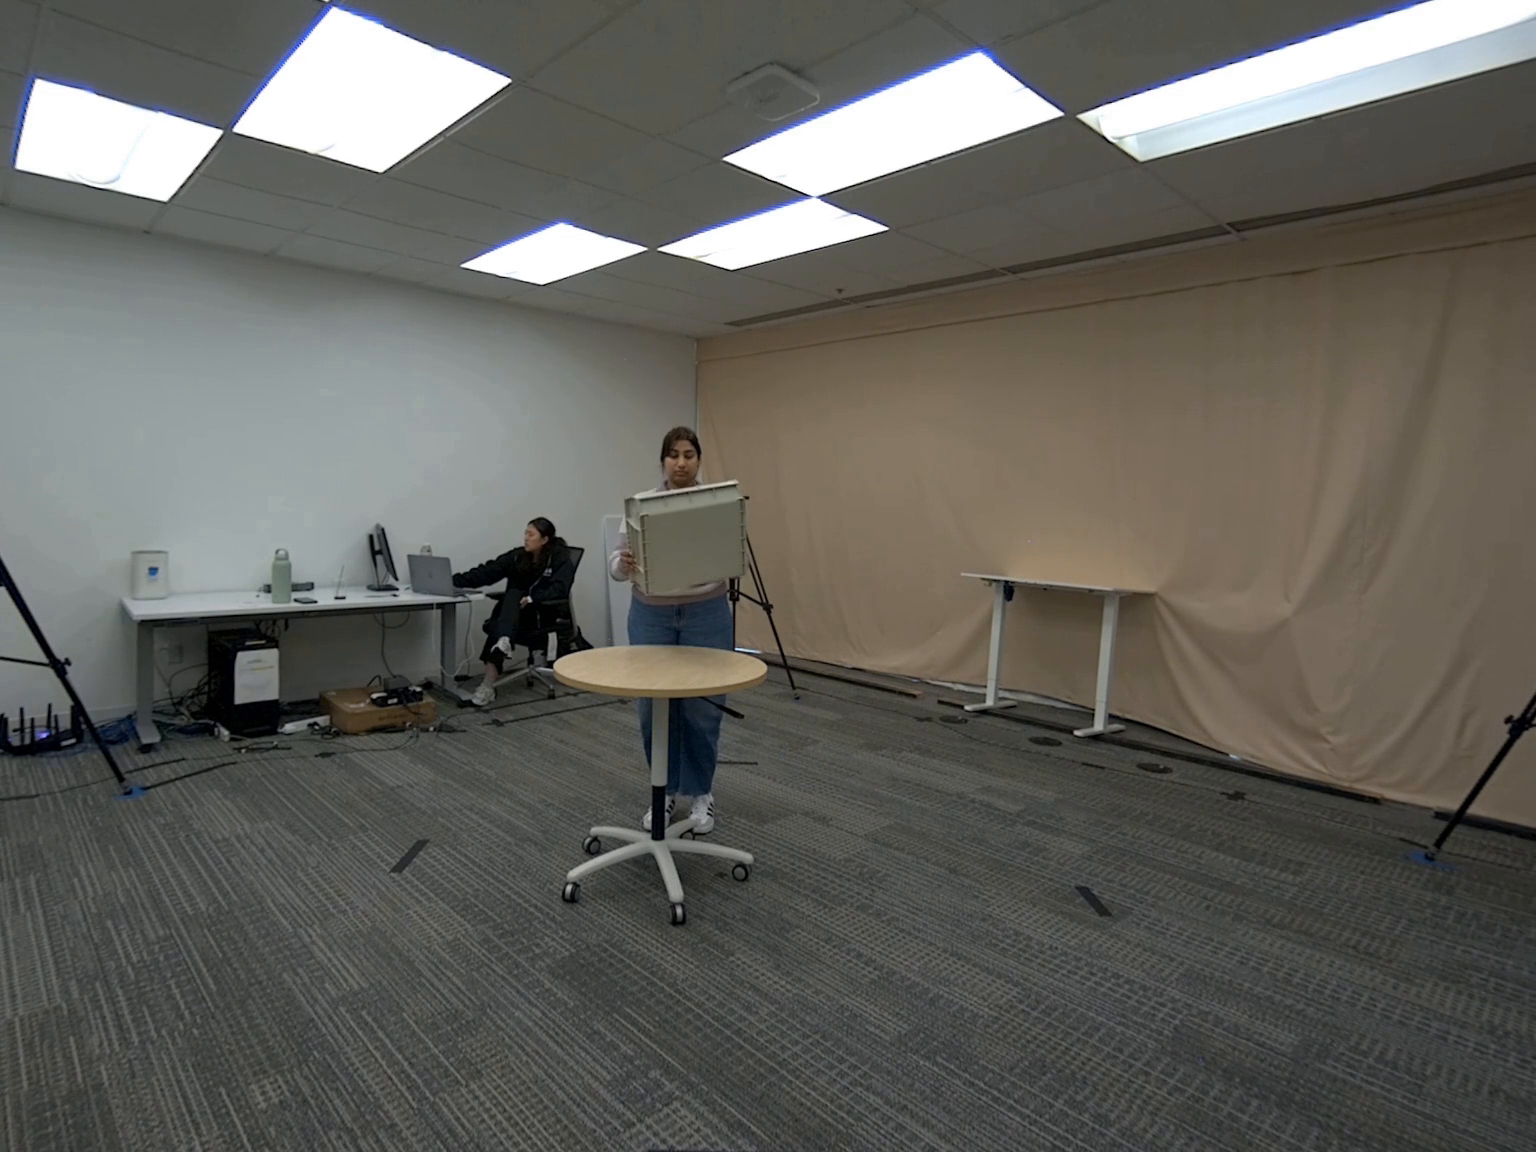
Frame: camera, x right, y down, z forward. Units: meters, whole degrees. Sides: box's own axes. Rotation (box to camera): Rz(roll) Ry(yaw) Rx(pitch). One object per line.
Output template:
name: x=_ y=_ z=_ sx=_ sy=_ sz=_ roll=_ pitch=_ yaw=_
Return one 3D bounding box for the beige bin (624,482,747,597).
beige bin: x=-0.314 y=-0.157 z=3.169 sx=0.416 sy=0.372 sz=0.194 roll=-11 pitch=22 yaw=-24
